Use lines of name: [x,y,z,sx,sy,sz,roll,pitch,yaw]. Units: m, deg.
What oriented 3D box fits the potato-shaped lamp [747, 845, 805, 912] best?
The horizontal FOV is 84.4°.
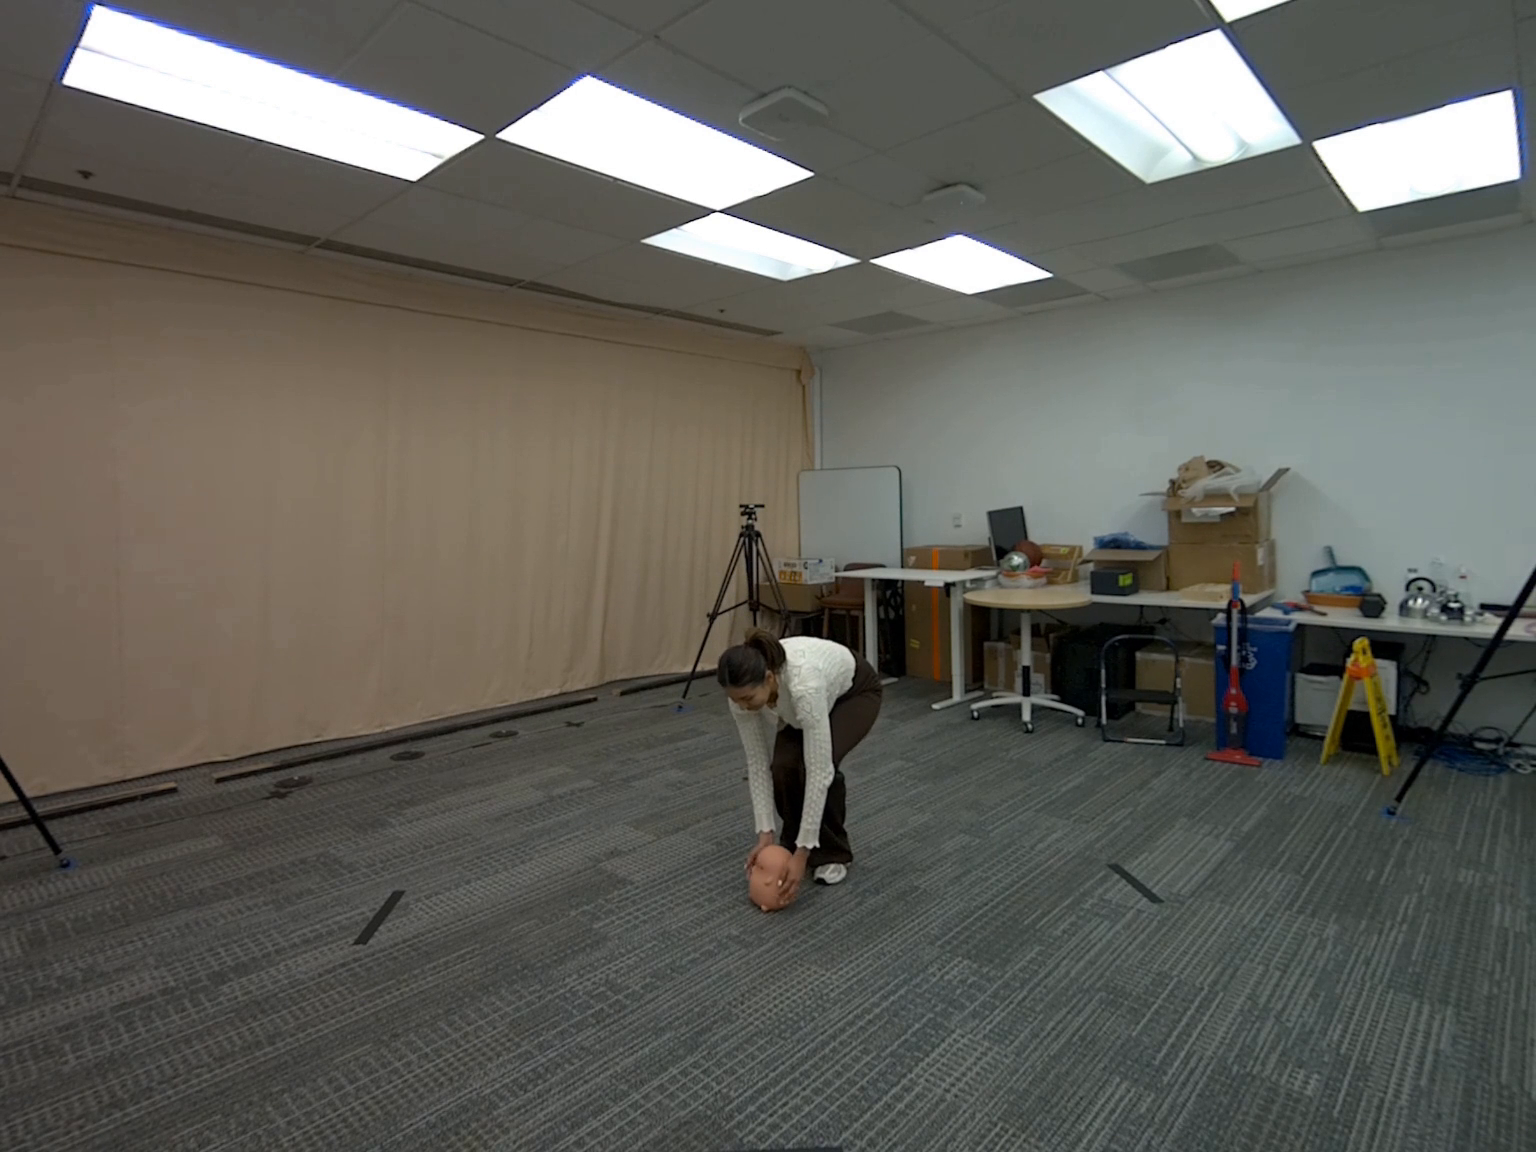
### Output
potato-shaped lamp: [0.026,1.038,2.941,0.167,0.198,0.168,2,2,-22]
